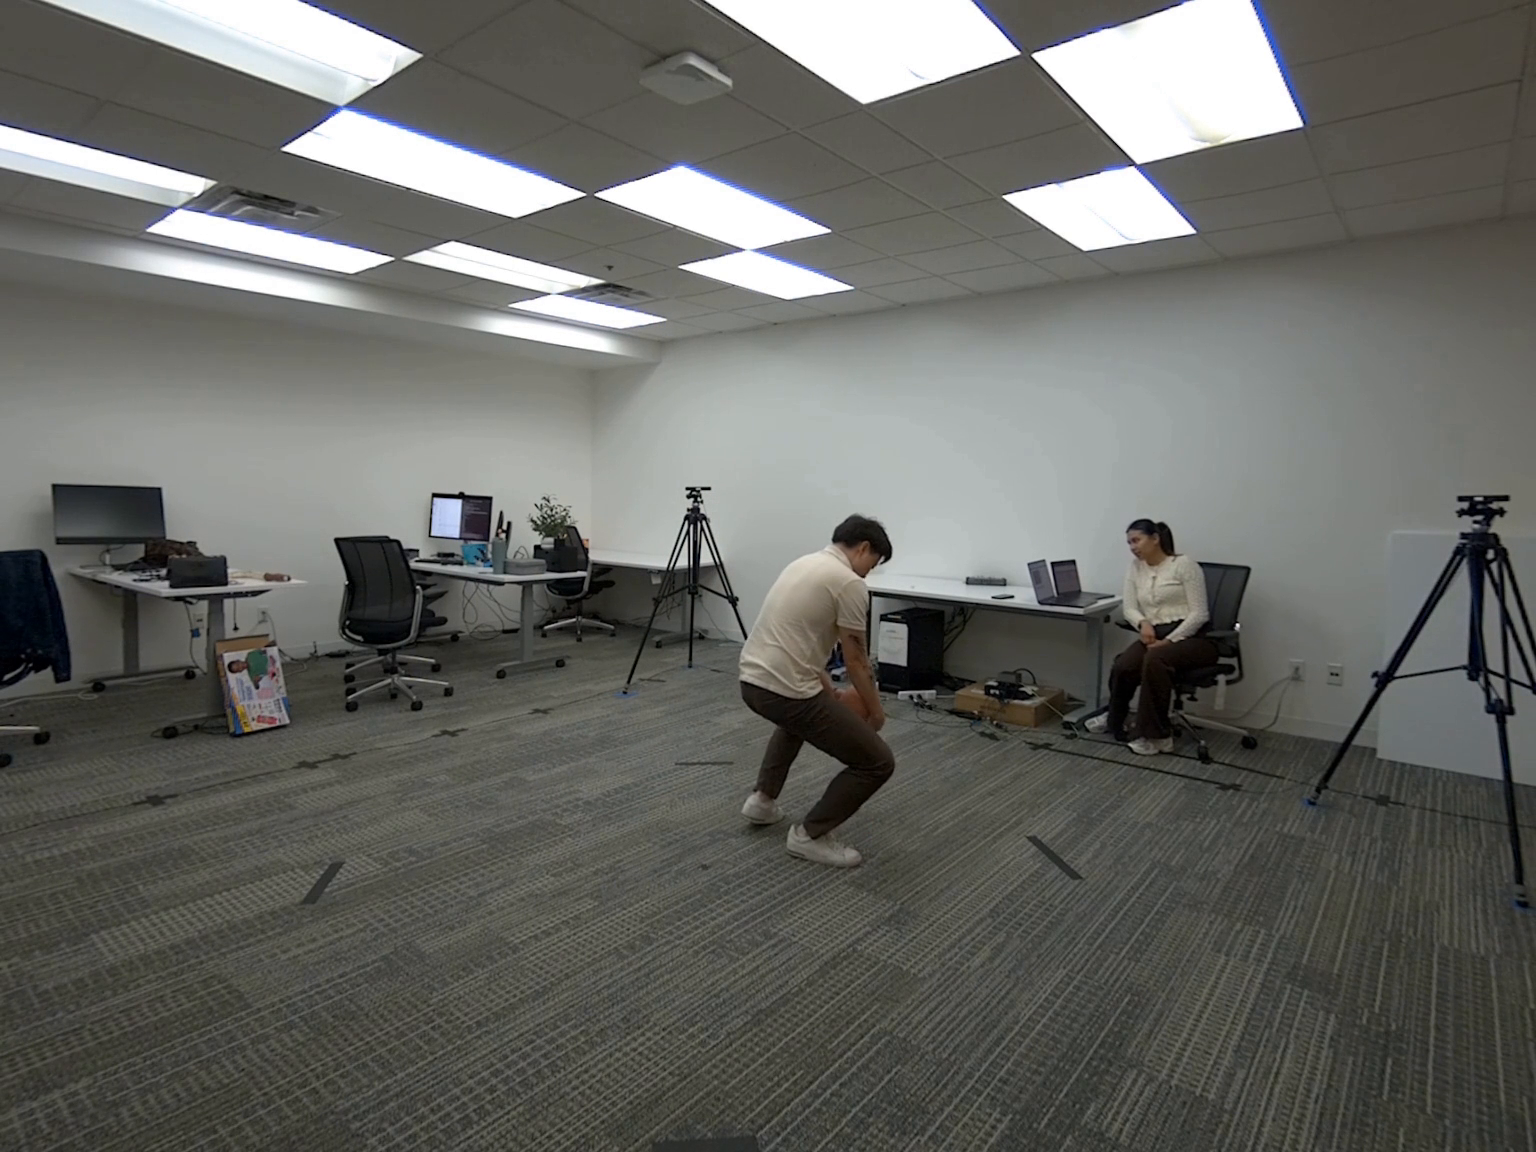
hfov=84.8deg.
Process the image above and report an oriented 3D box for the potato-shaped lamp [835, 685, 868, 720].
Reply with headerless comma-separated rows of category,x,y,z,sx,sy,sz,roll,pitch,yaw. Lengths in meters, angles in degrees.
potato-shaped lamp,0.353,0.511,3.354,0.167,0.195,0.171,-9,45,-36
